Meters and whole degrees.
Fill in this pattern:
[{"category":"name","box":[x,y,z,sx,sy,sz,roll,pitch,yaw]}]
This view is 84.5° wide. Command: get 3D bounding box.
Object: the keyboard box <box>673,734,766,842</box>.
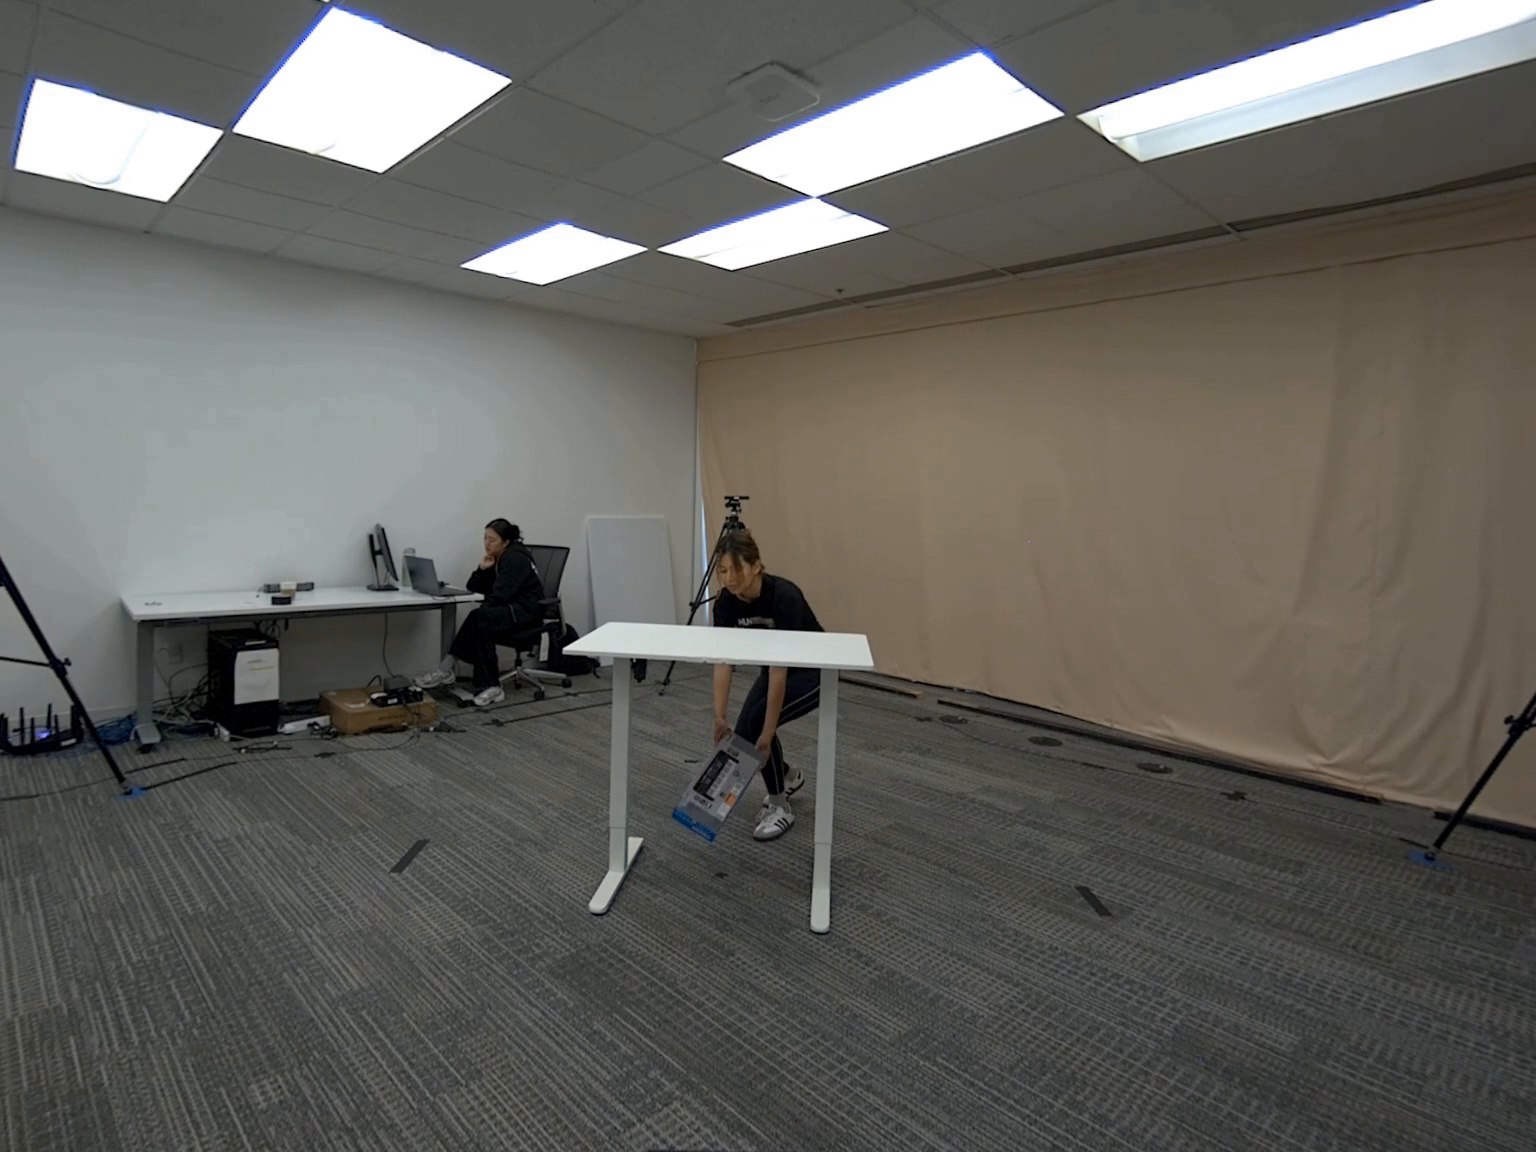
[{"category":"keyboard box","box":[-0.179,0.764,3.093,0.178,0.058,0.437,27,38,12]}]
